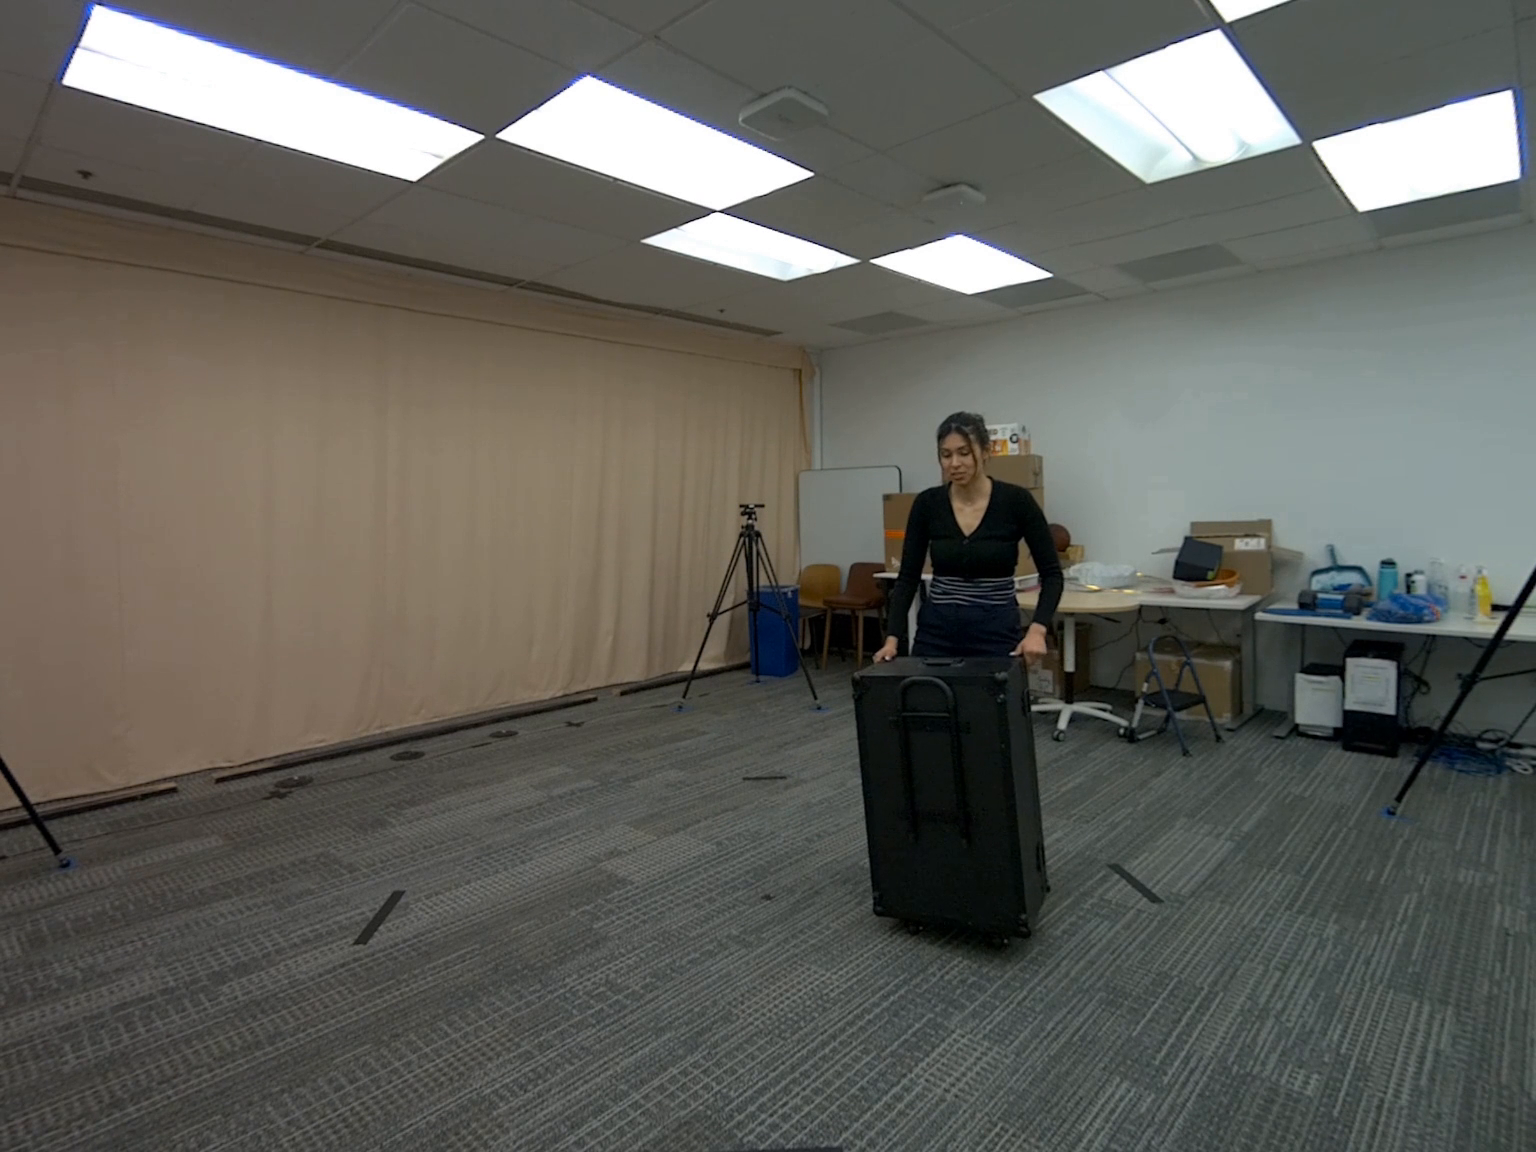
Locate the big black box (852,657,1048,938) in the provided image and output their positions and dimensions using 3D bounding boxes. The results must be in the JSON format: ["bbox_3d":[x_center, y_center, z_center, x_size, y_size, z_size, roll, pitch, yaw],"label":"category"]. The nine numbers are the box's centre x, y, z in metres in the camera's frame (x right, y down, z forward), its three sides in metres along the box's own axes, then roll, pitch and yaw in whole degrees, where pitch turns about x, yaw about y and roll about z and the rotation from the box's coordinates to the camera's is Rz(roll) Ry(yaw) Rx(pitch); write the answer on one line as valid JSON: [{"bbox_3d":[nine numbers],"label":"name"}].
[{"bbox_3d":[0.601,0.714,2.726,0.535,0.860,0.386,-5,2,29],"label":"big black box"}]
